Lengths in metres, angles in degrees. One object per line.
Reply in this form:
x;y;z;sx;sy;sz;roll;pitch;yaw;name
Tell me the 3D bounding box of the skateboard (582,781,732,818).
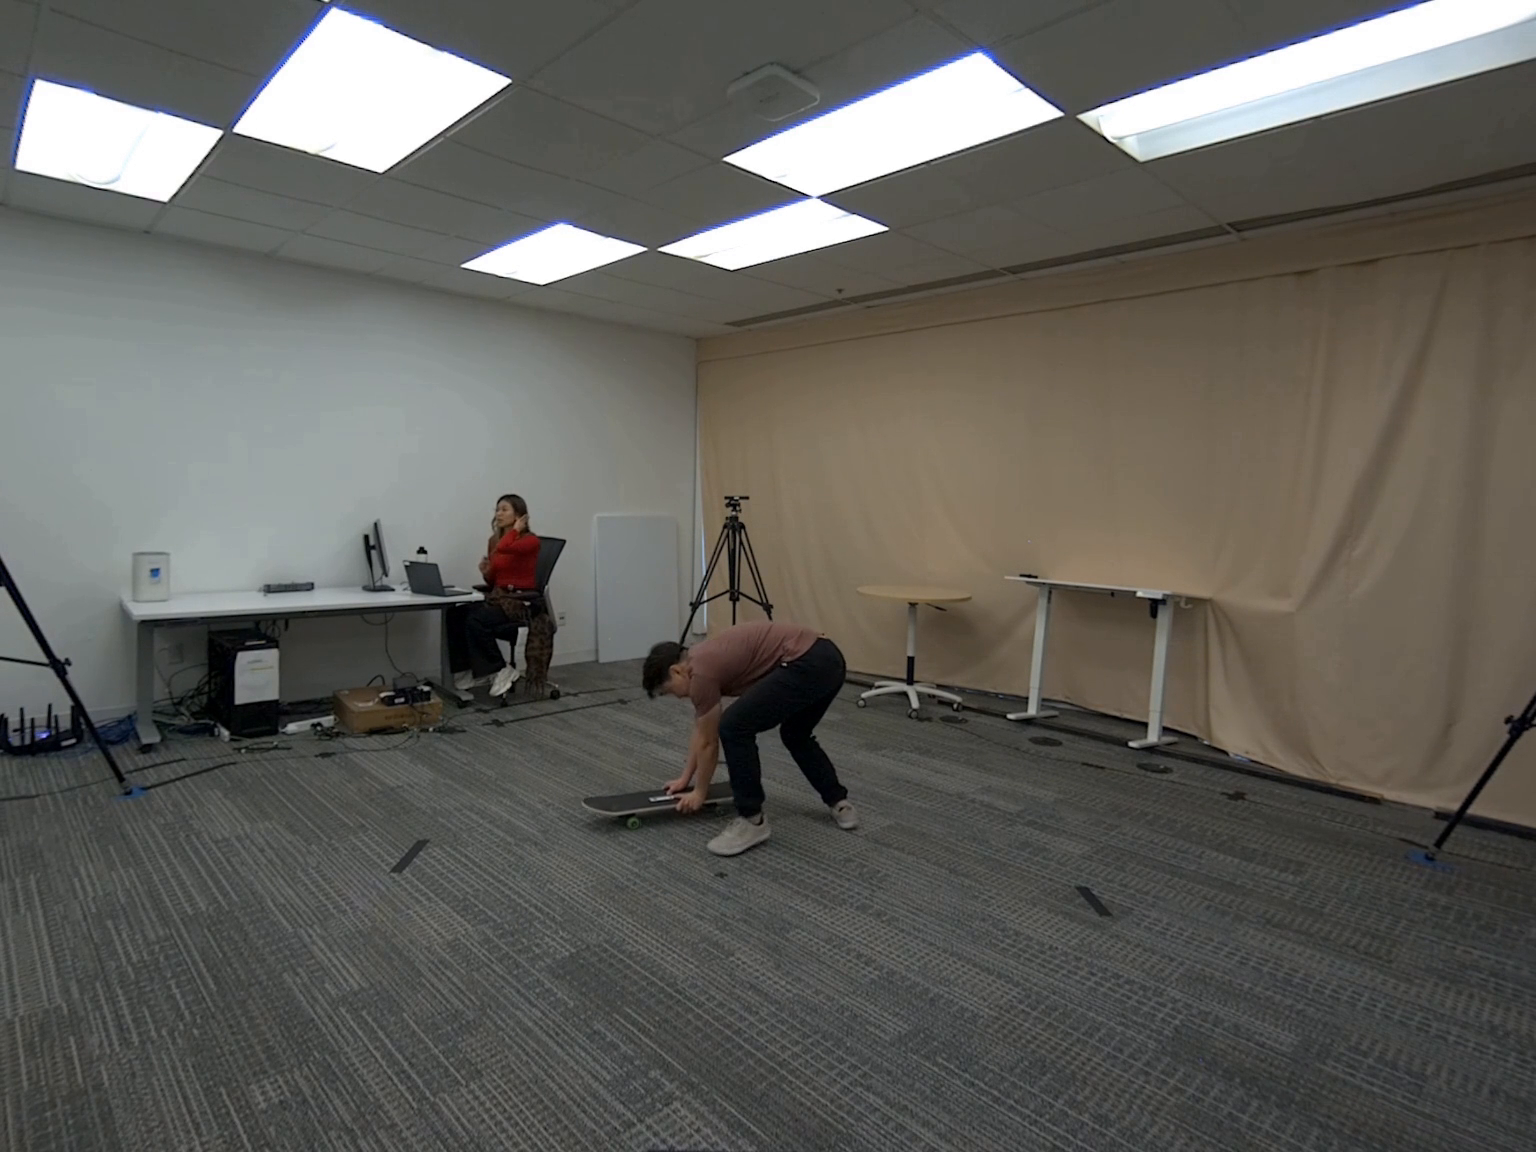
-0.437;0.996;3.668;0.771;0.110;0.197;0;6;-25;skateboard
